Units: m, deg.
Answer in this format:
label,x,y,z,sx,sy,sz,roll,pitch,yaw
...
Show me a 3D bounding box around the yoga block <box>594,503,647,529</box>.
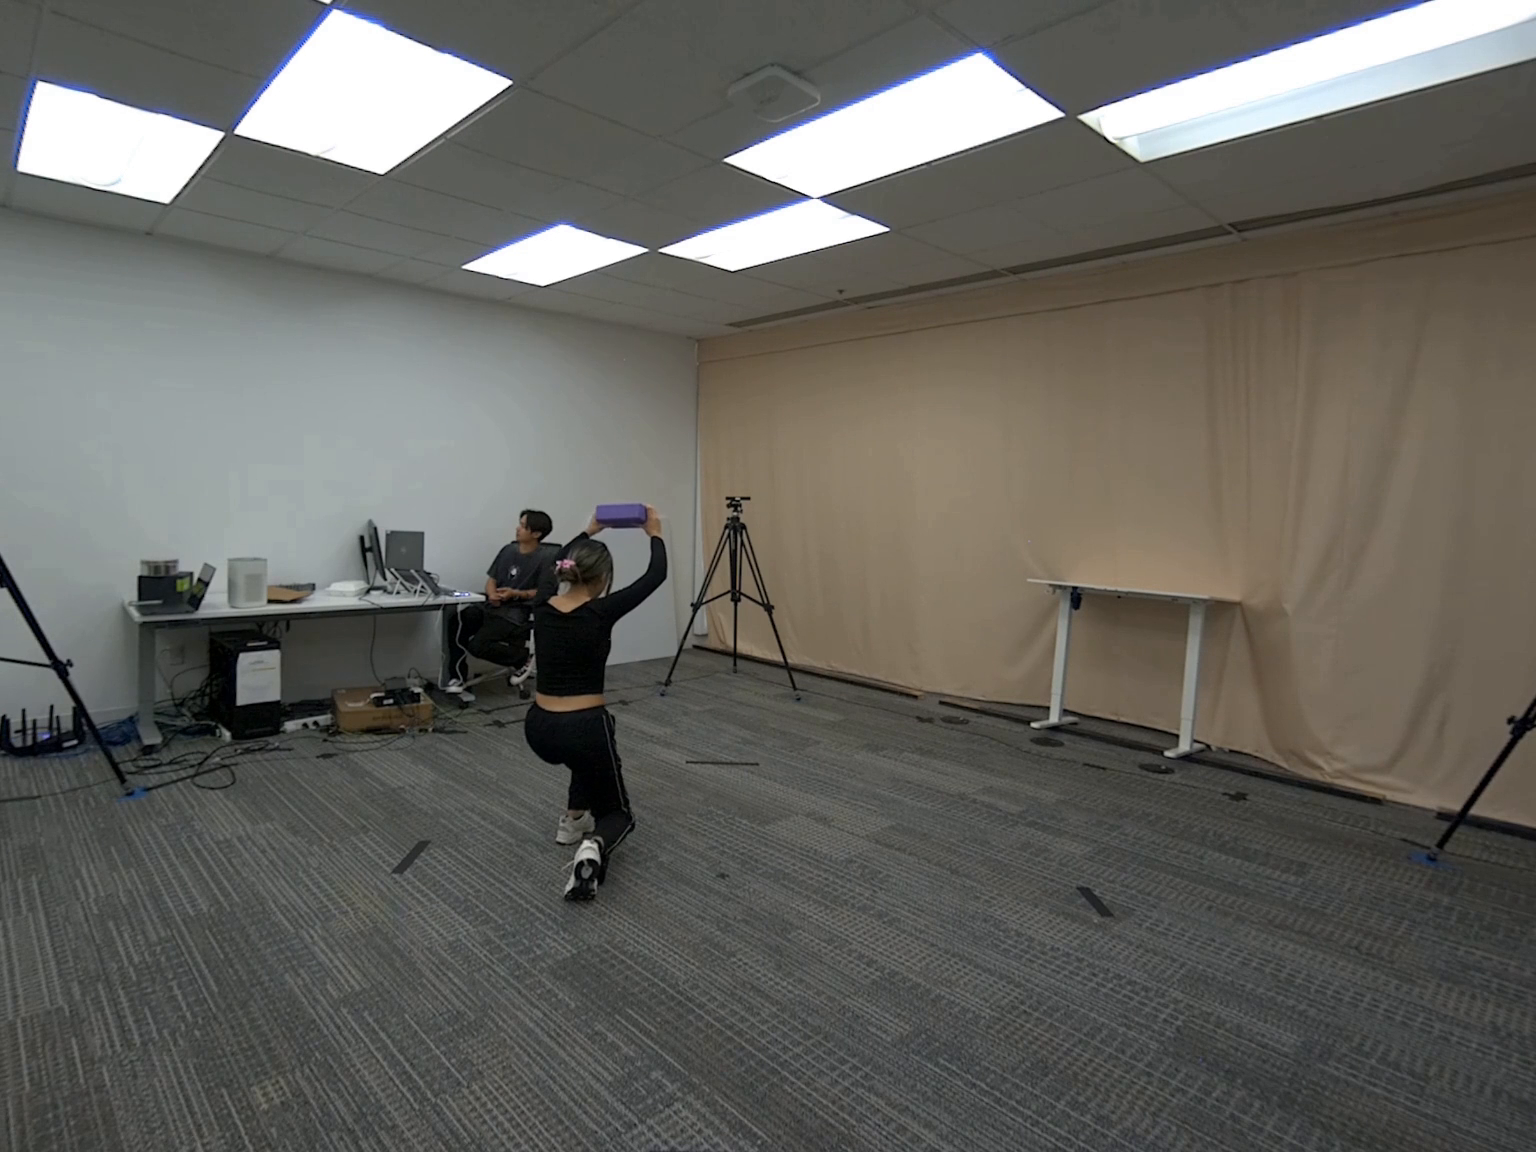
label,x,y,z,sx,sy,sz,roll,pitch,yaw
yoga block,-0.634,-0.270,3.678,0.233,0.077,0.145,-1,-13,24
